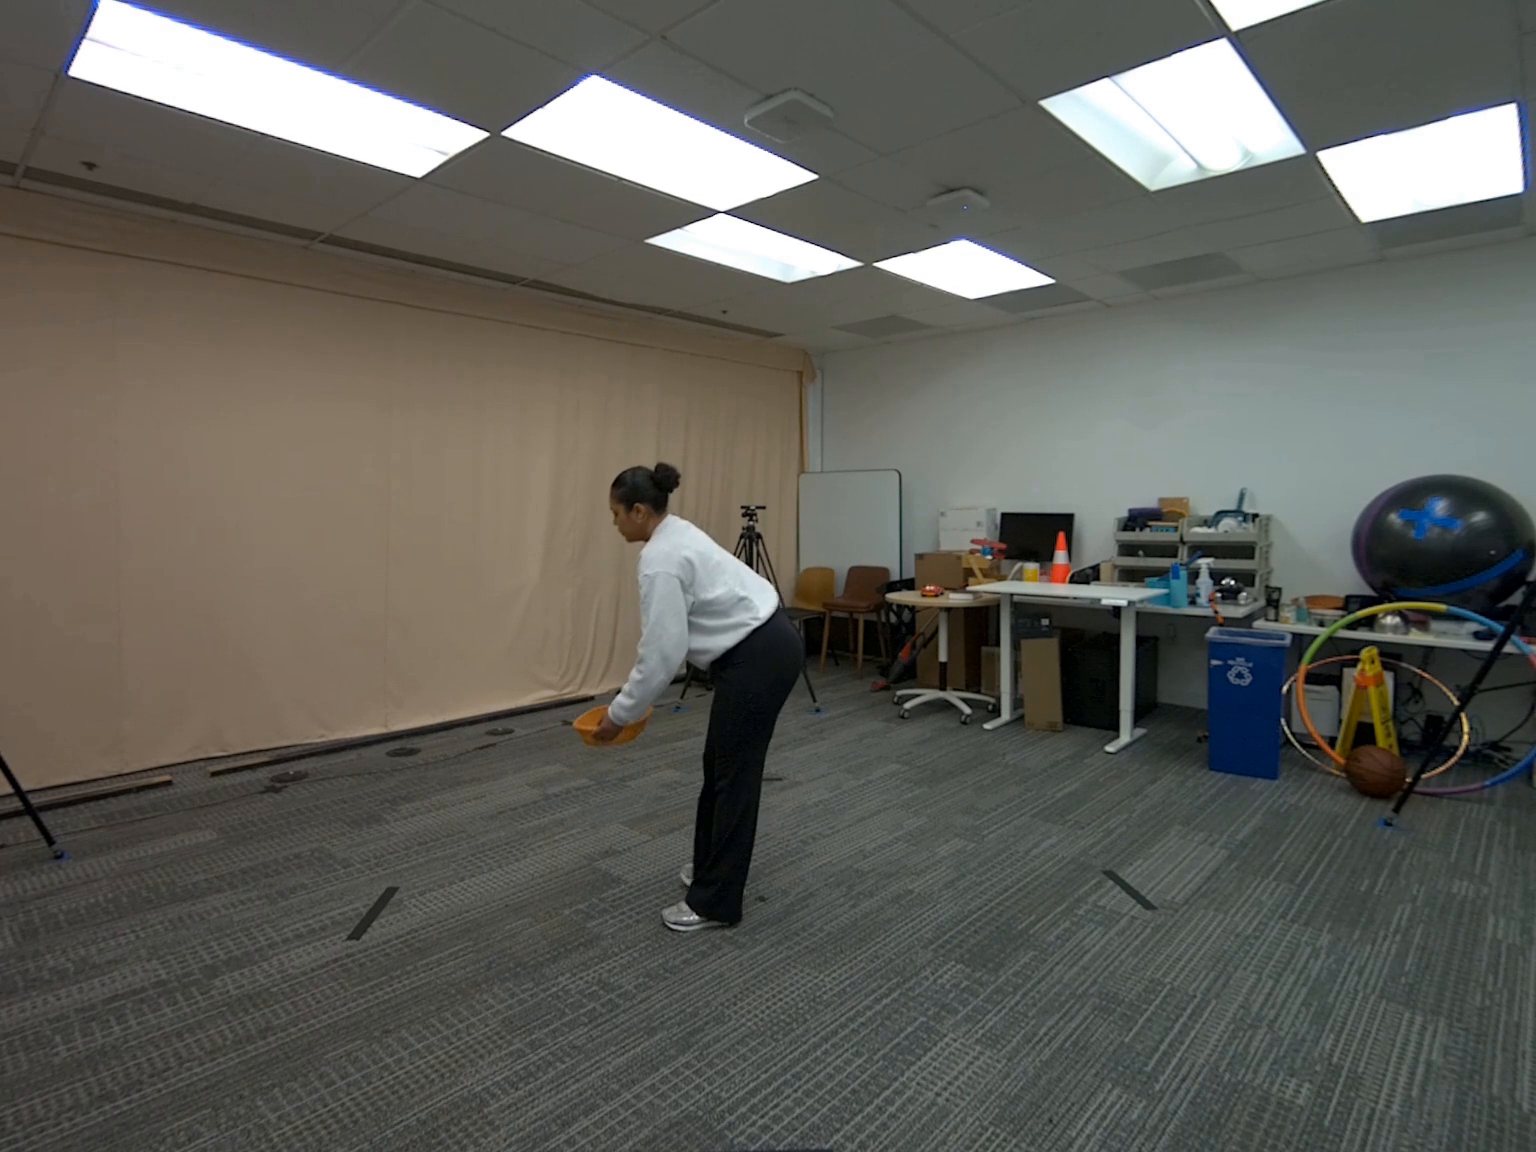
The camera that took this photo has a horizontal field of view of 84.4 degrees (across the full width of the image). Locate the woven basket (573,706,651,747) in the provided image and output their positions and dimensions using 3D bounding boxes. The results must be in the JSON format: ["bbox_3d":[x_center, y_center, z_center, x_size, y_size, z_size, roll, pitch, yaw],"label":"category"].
[{"bbox_3d":[-0.515,0.523,2.903,0.256,0.073,0.347,-5,5,11],"label":"woven basket"}]
